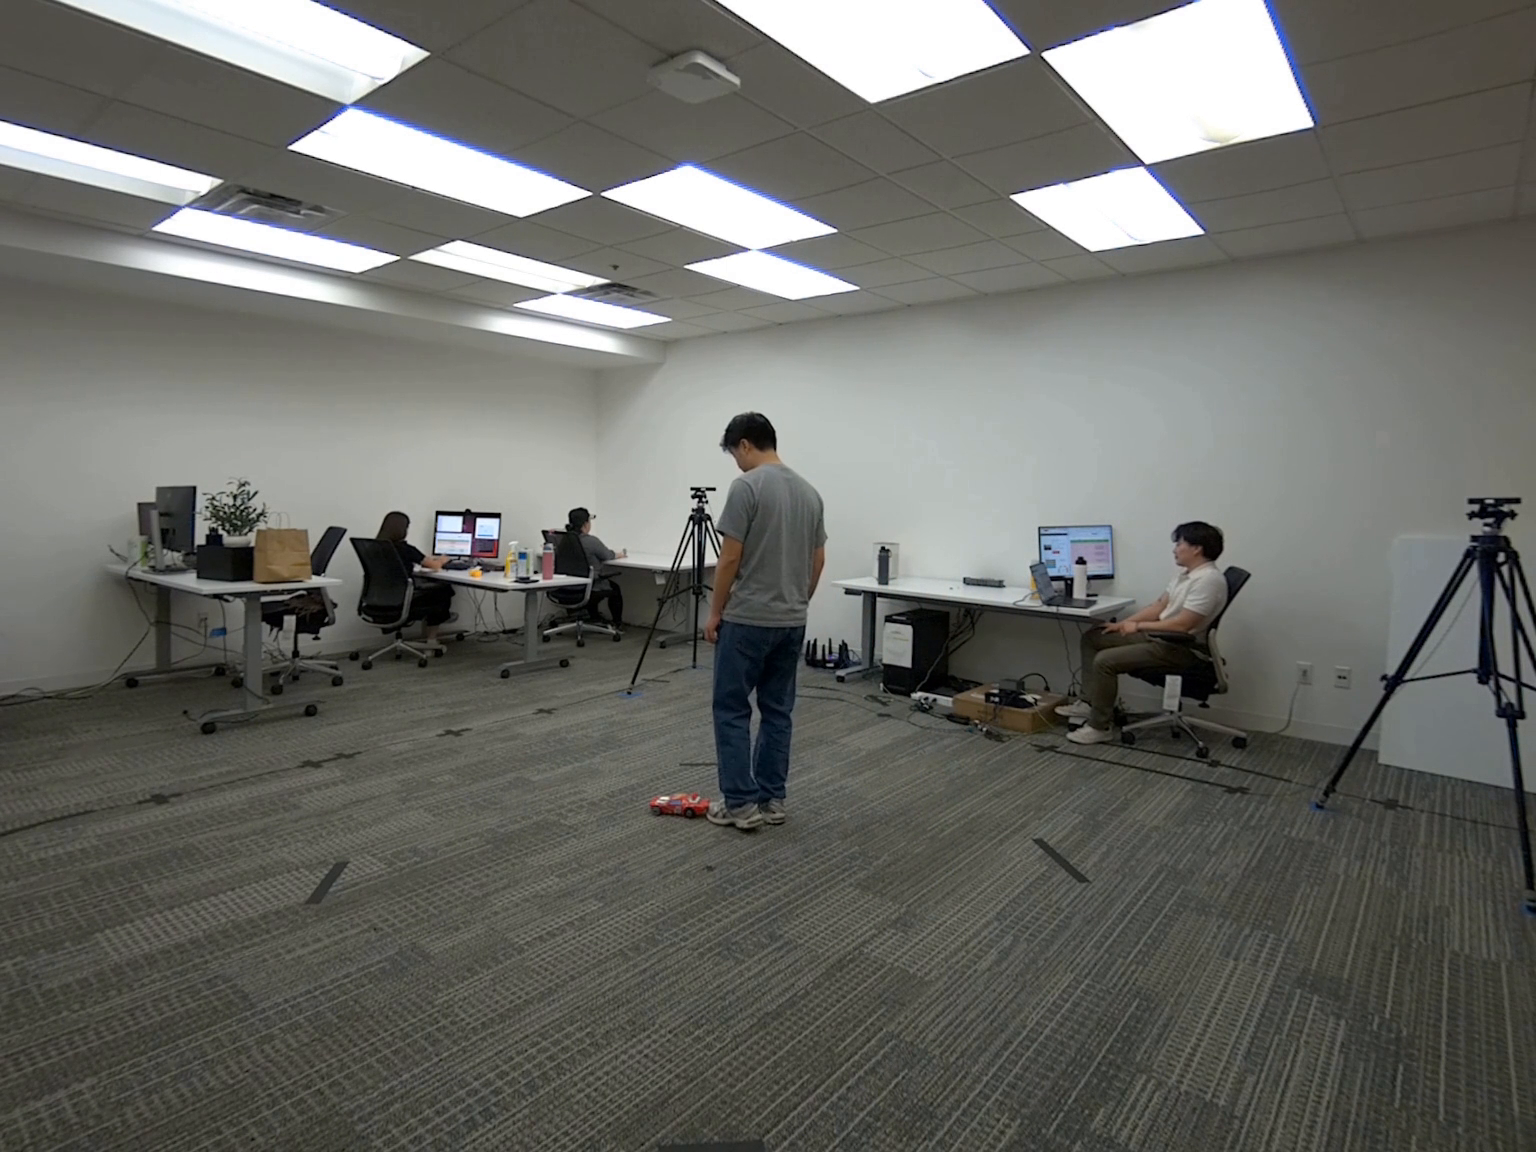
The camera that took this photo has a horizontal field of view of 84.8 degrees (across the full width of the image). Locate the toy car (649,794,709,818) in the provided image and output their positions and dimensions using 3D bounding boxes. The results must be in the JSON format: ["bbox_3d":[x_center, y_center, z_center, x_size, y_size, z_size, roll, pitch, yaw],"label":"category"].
[{"bbox_3d":[-0.393,0.978,3.652,0.257,0.083,0.129,-9,3,11],"label":"toy car"}]
